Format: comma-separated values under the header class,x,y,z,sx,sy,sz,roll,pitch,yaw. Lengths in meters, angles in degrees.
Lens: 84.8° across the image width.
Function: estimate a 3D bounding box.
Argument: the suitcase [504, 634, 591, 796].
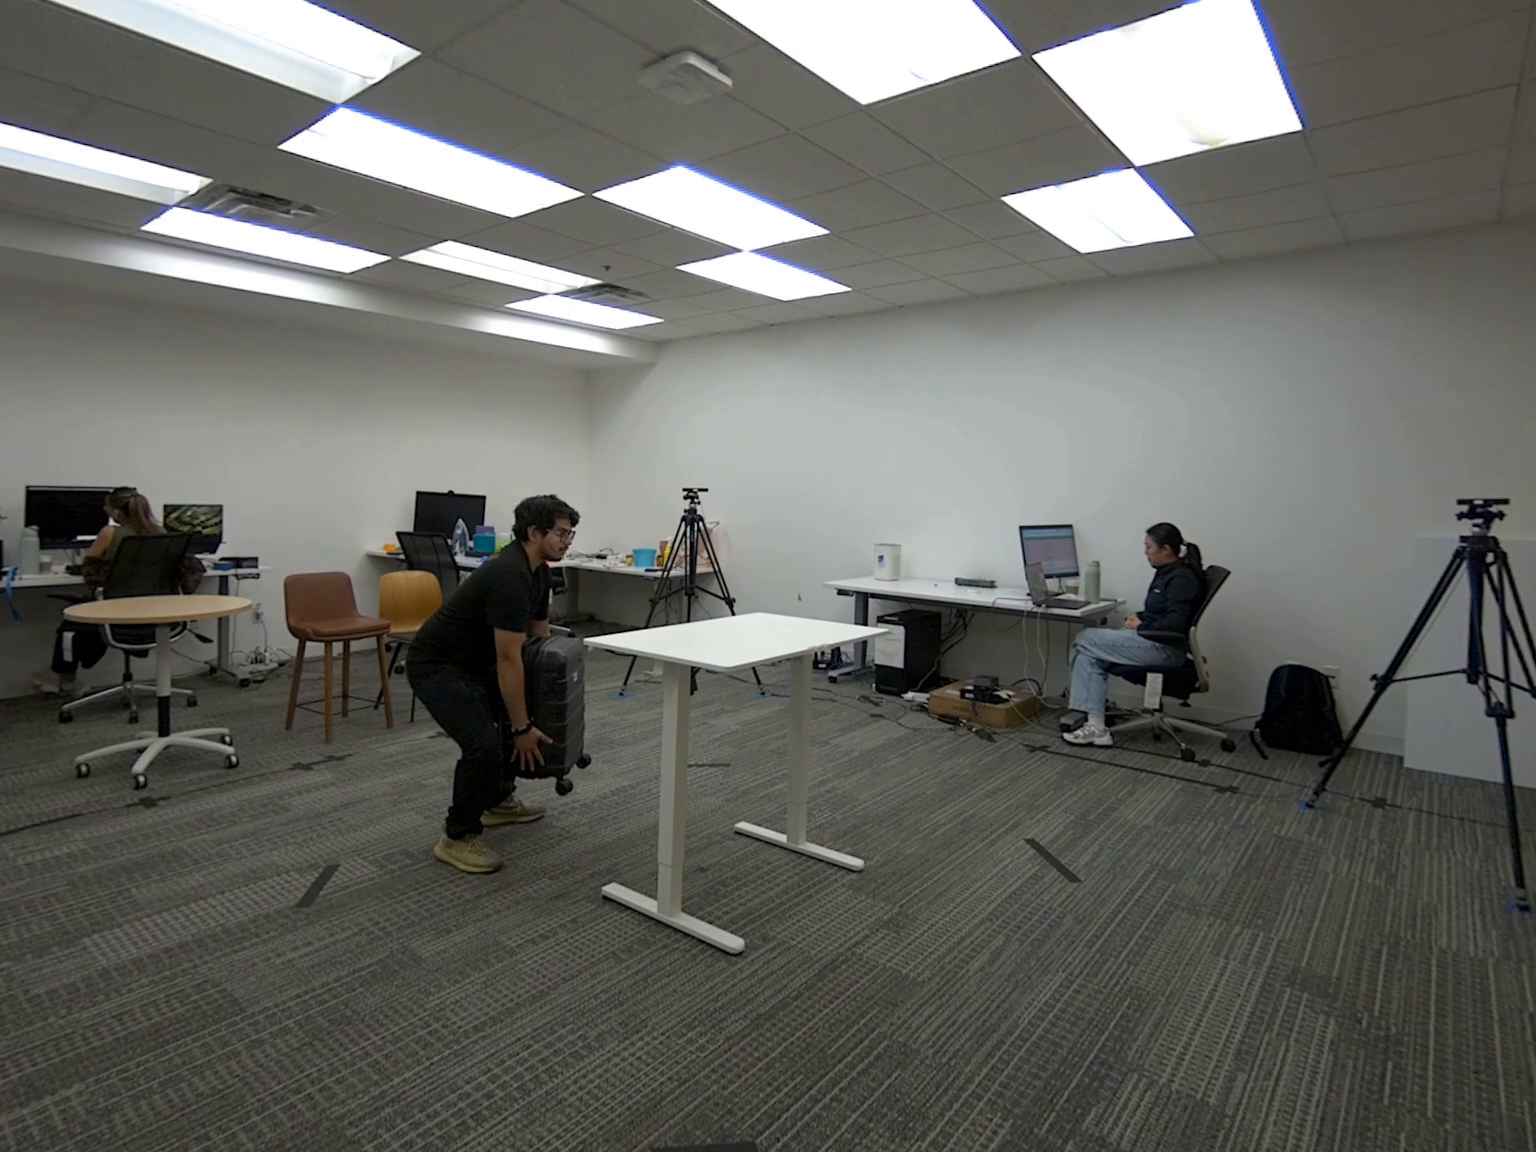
class,x,y,z,sx,sy,sz,roll,pitch,yaw
suitcase,-0.892,0.524,3.328,0.249,0.549,0.374,1,1,3
